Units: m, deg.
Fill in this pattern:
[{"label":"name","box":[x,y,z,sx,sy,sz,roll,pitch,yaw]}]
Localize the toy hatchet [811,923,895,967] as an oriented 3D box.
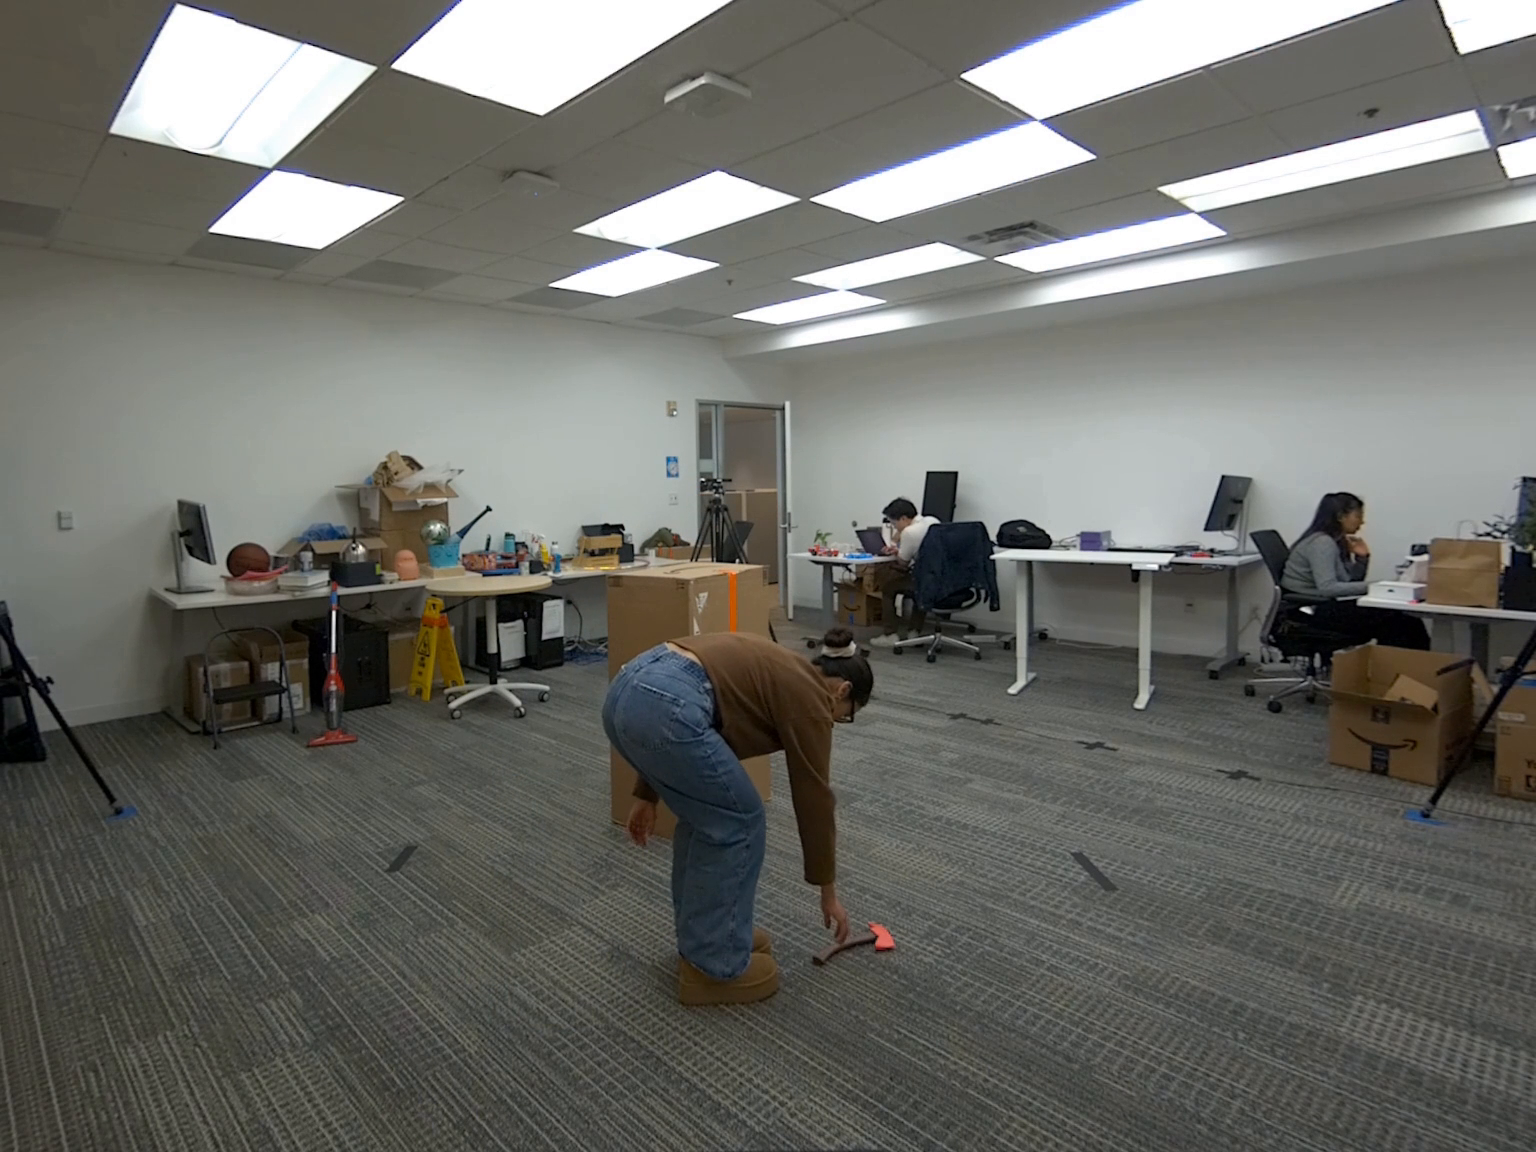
[{"label":"toy hatchet","box":[0.275,1.101,2.509,0.263,0.029,0.135,-10,12,-42]}]
